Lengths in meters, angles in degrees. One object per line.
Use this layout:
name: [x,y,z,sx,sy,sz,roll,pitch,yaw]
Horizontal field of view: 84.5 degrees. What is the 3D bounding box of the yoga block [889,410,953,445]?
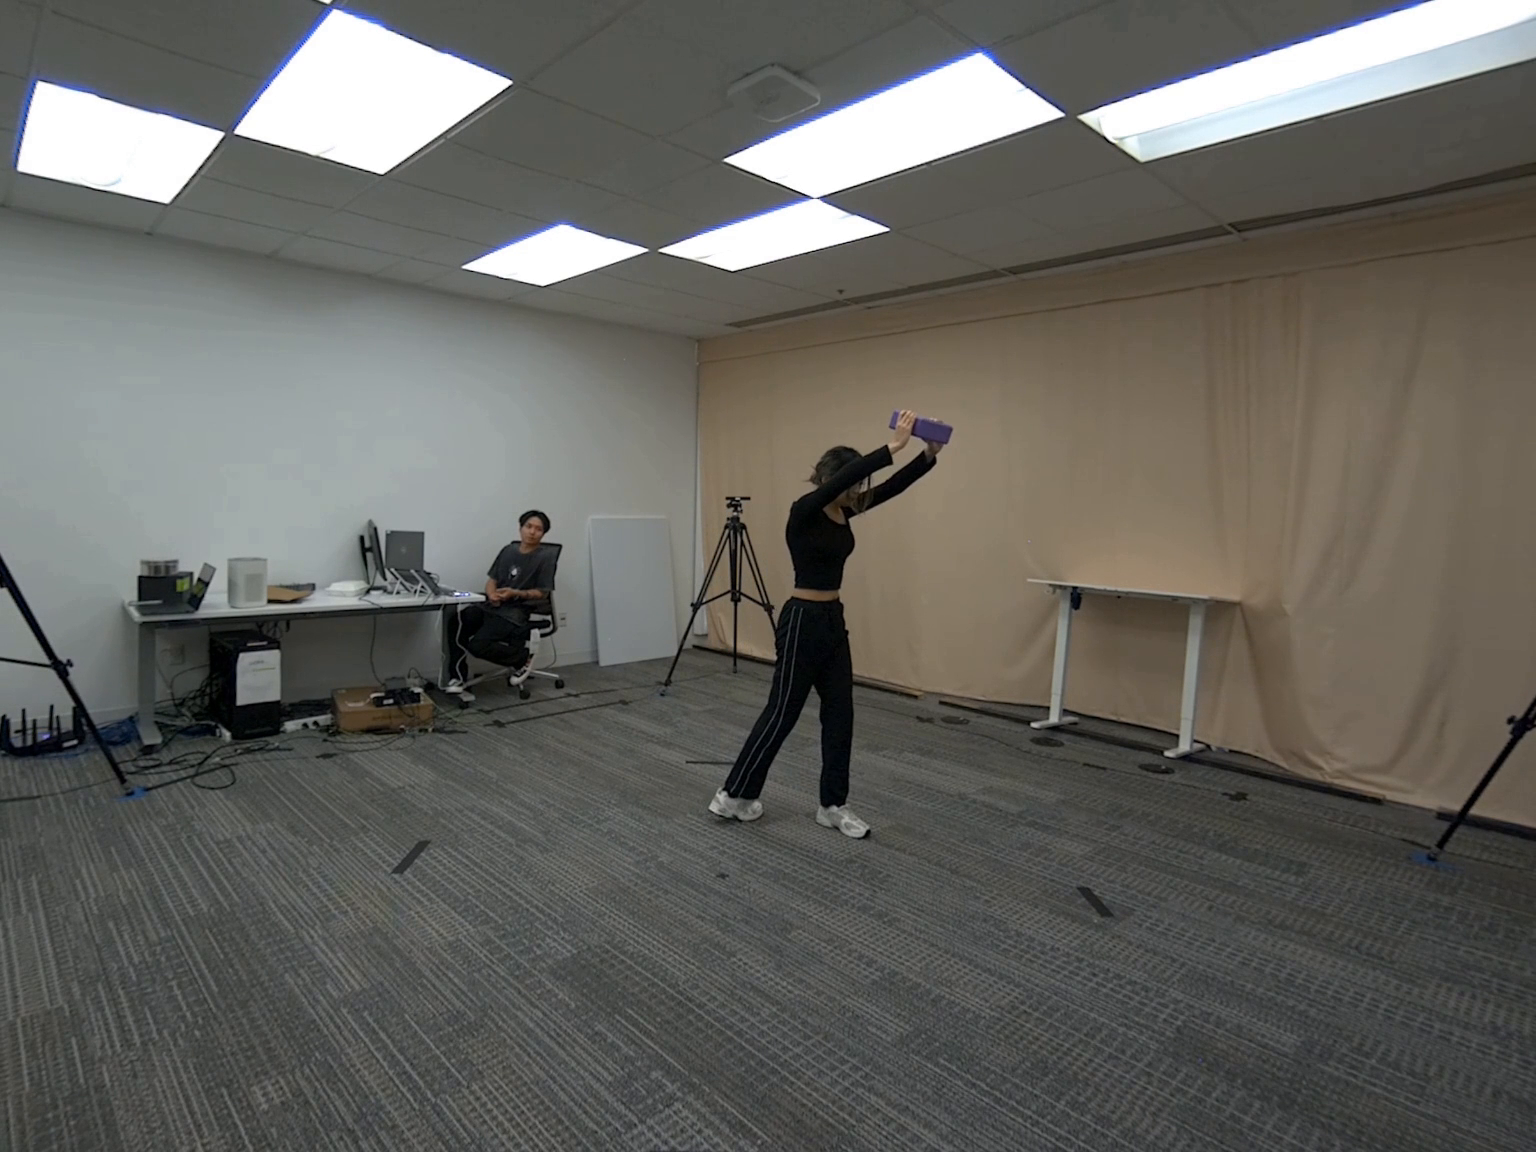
yoga block: [0.591,-0.581,3.296,0.153,0.076,0.224,25,14,36]
